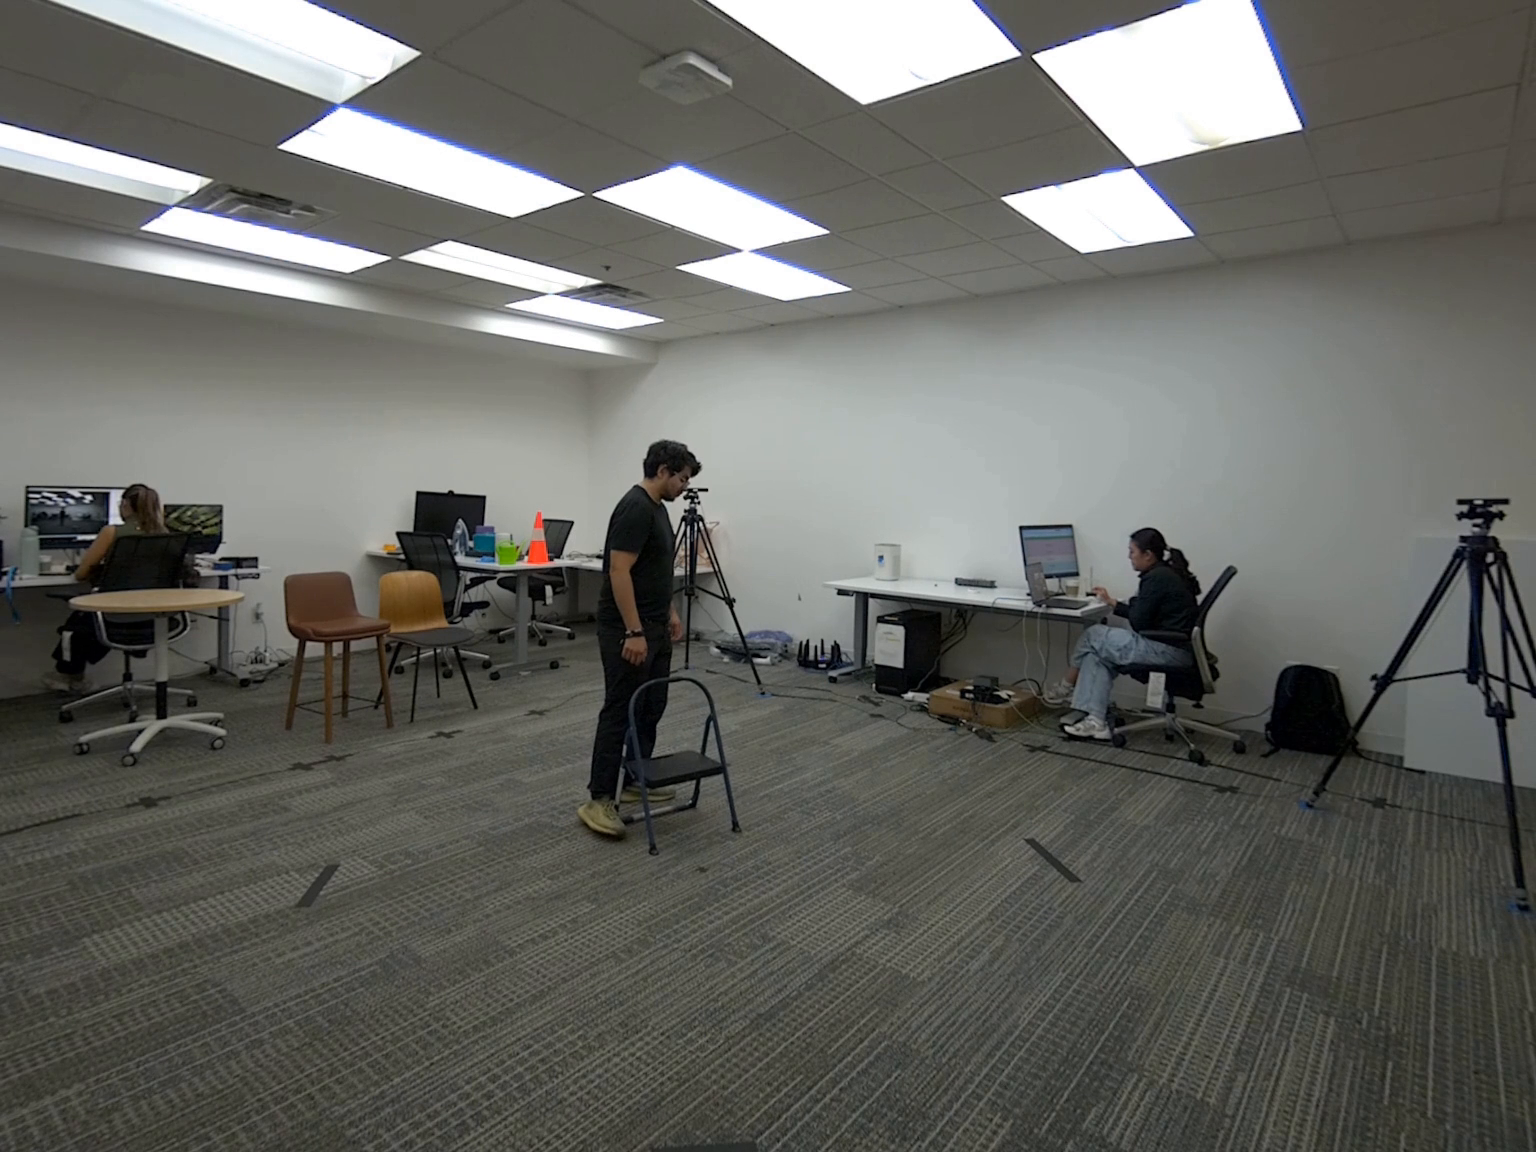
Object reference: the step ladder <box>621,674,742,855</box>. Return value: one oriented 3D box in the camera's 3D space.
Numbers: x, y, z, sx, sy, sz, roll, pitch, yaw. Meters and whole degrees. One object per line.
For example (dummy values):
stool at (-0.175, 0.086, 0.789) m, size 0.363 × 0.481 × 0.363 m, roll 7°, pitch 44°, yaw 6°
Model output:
step ladder at (-0.383, 0.728, 3.467) m, size 0.418 × 0.604 × 0.361 m, roll -2°, pitch 4°, yaw -38°
